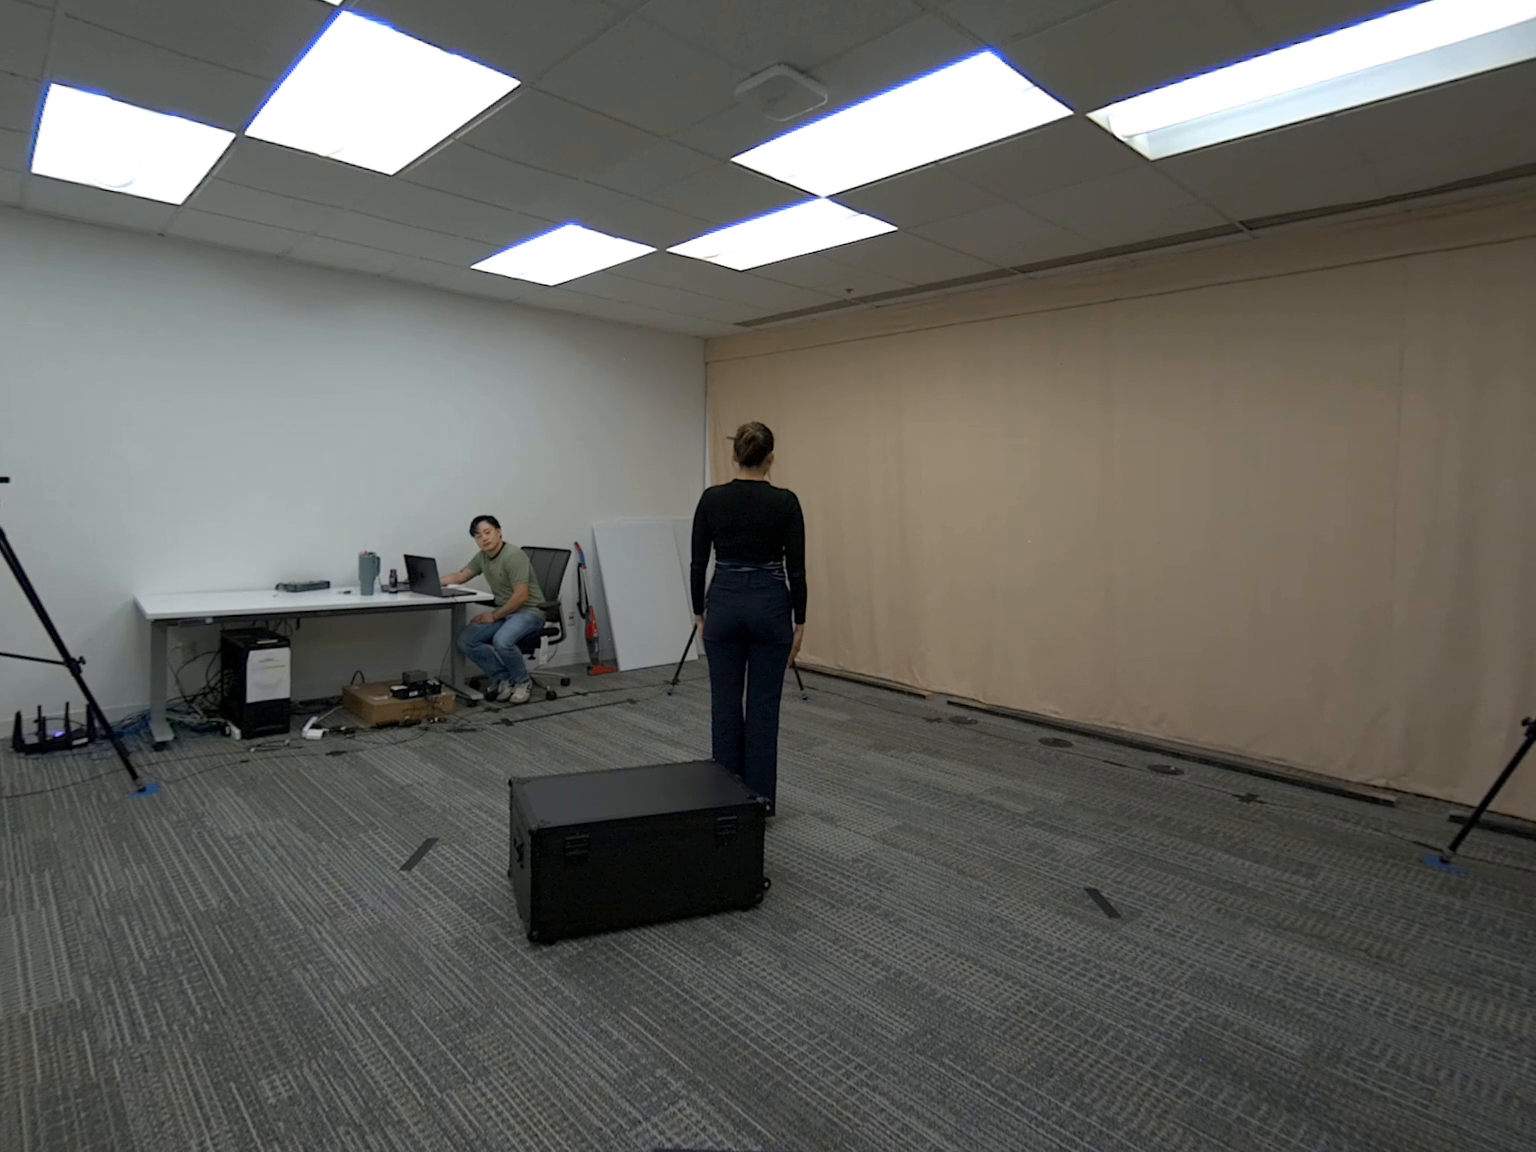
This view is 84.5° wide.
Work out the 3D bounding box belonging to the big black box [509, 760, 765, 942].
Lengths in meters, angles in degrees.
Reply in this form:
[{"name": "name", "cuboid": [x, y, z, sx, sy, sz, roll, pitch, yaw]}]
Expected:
[{"name": "big black box", "cuboid": [-0.501, 0.927, 2.897, 0.847, 0.395, 0.531, 0, 4, -23]}]
